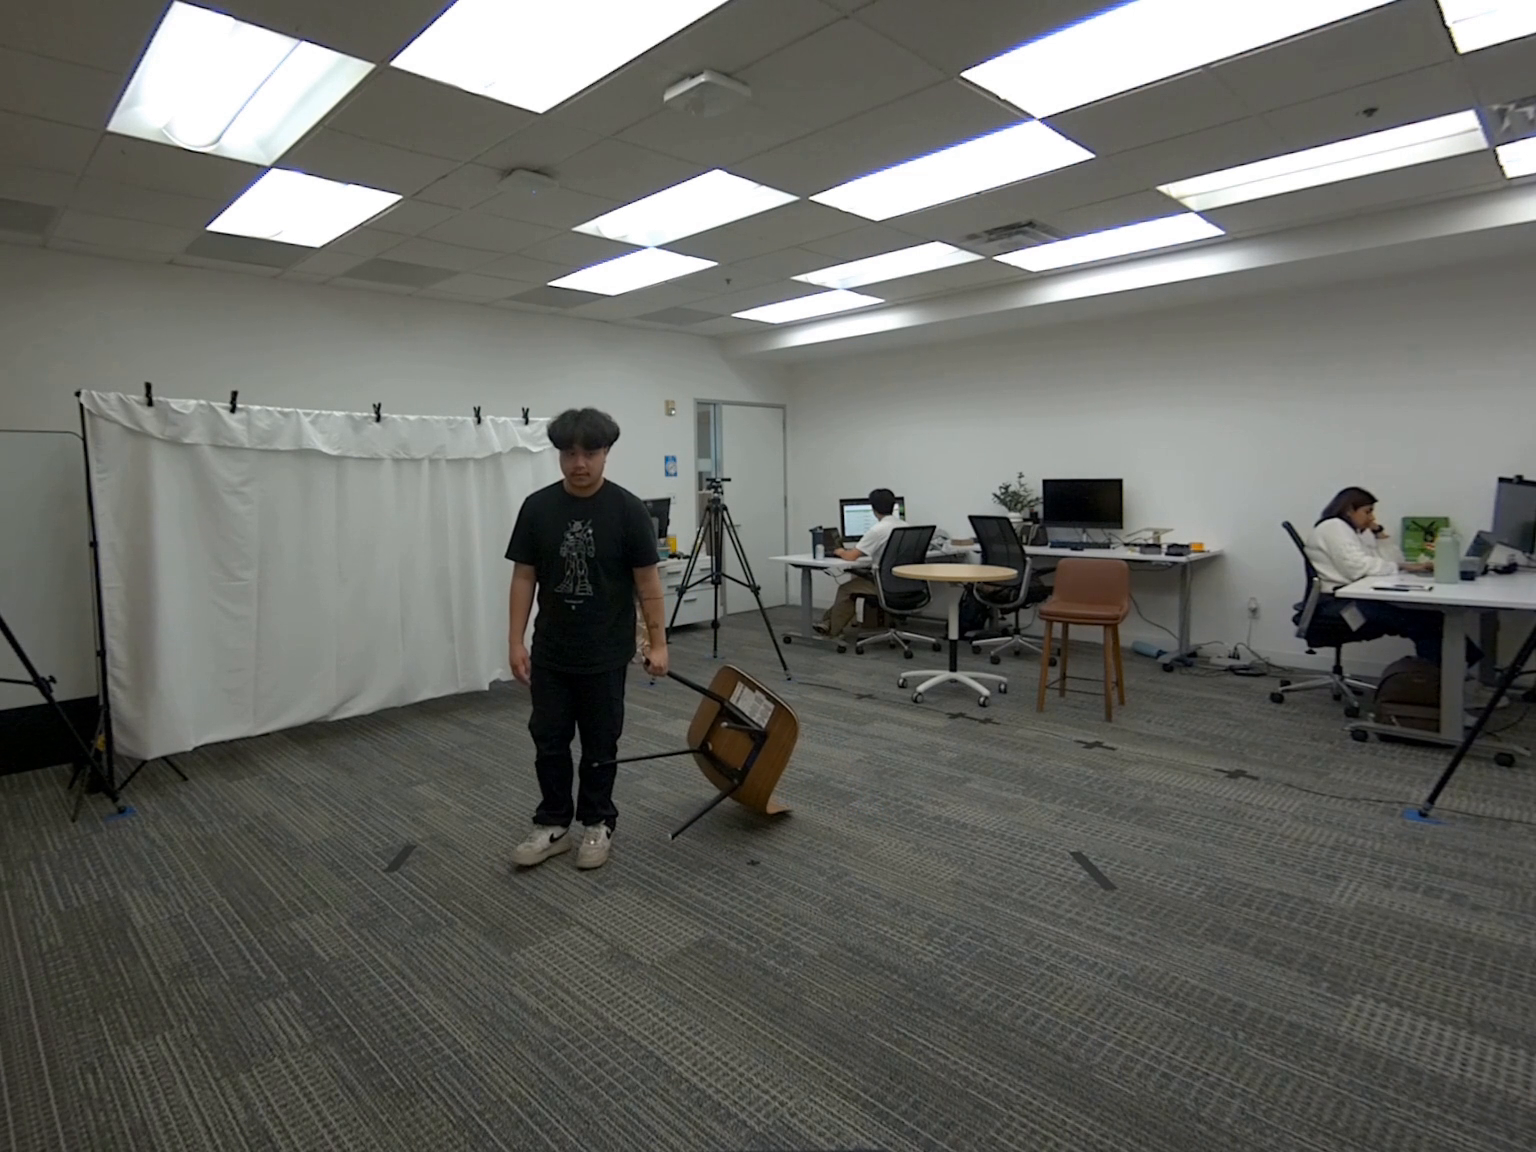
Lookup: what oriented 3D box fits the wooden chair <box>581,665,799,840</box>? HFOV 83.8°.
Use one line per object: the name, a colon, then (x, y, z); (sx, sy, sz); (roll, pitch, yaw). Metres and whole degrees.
wooden chair: (-0.149, 0.647, 3.317); (0.496, 0.522, 0.846); (30, 6, 36)
